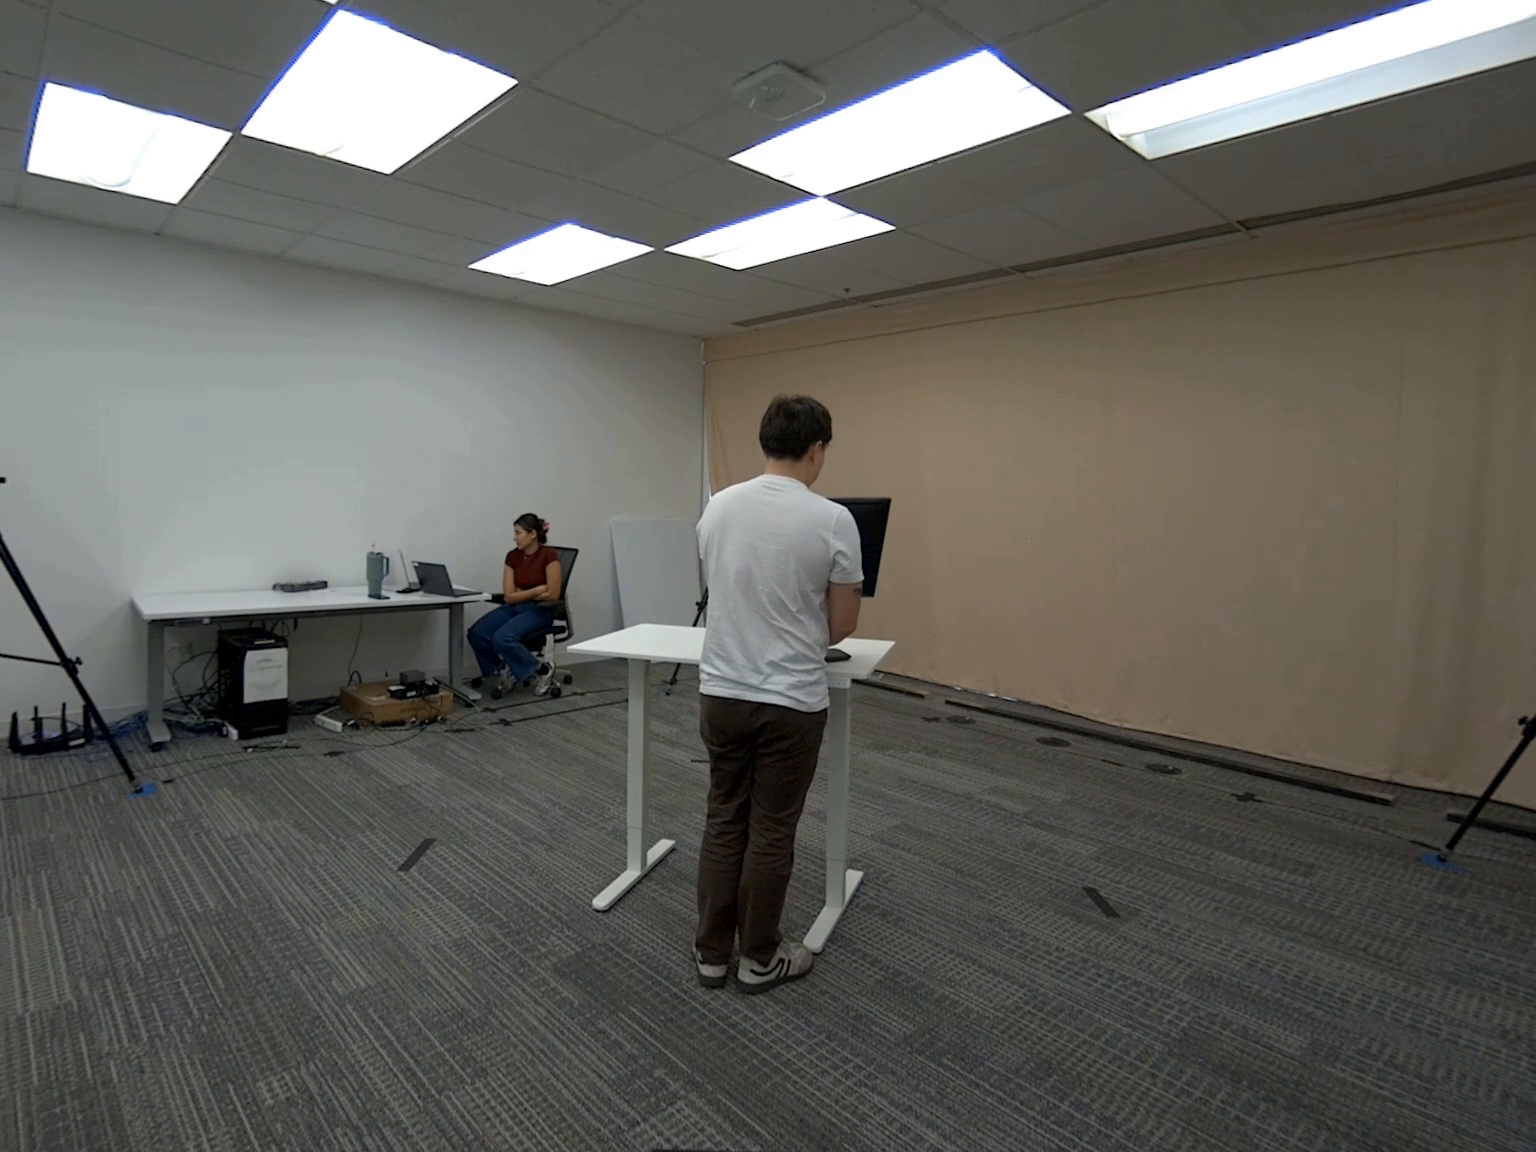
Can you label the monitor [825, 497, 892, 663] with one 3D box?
[{"bbox_3d":[0.132,0.010,2.668,0.532,0.520,0.190,-1,7,-17],"label":"monitor"}]
